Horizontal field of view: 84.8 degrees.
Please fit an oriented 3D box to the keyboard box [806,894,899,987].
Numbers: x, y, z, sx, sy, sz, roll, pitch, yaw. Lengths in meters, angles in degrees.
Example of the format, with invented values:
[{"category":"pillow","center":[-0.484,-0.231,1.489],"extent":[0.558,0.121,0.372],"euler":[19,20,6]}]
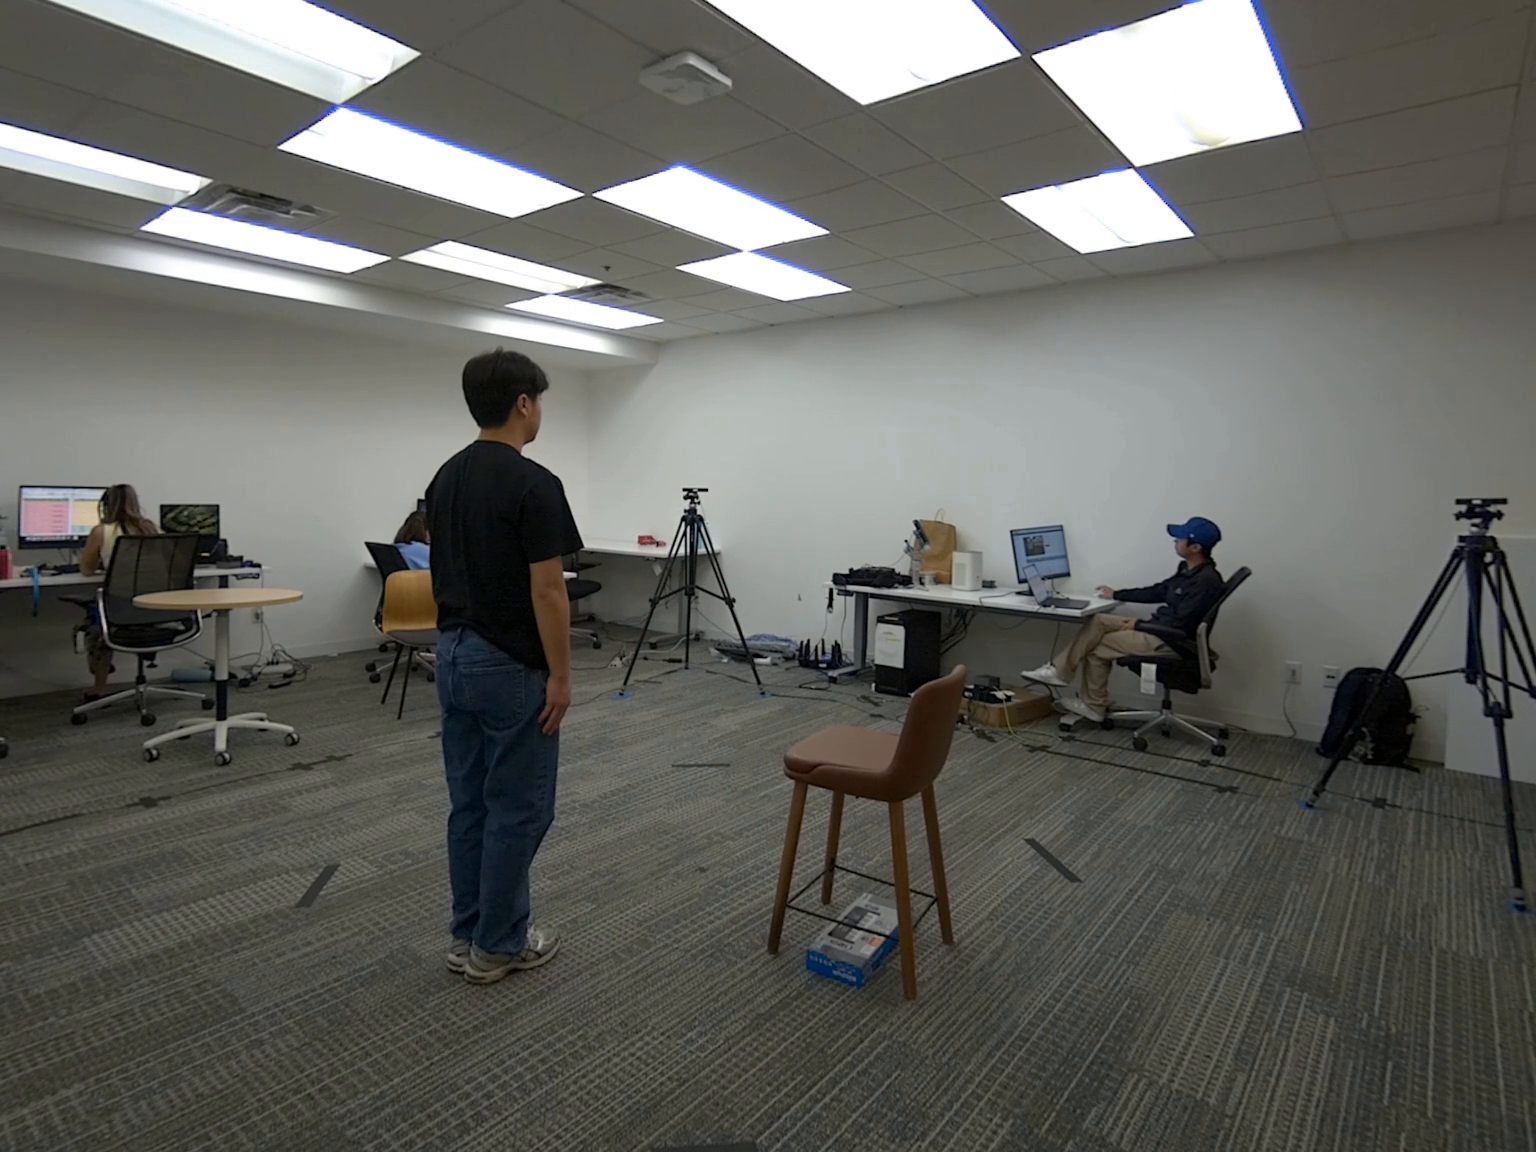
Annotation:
[{"category":"keyboard box","center":[0.286,1.105,2.605],"extent":[0.181,0.059,0.426],"euler":[5,7,30]}]
